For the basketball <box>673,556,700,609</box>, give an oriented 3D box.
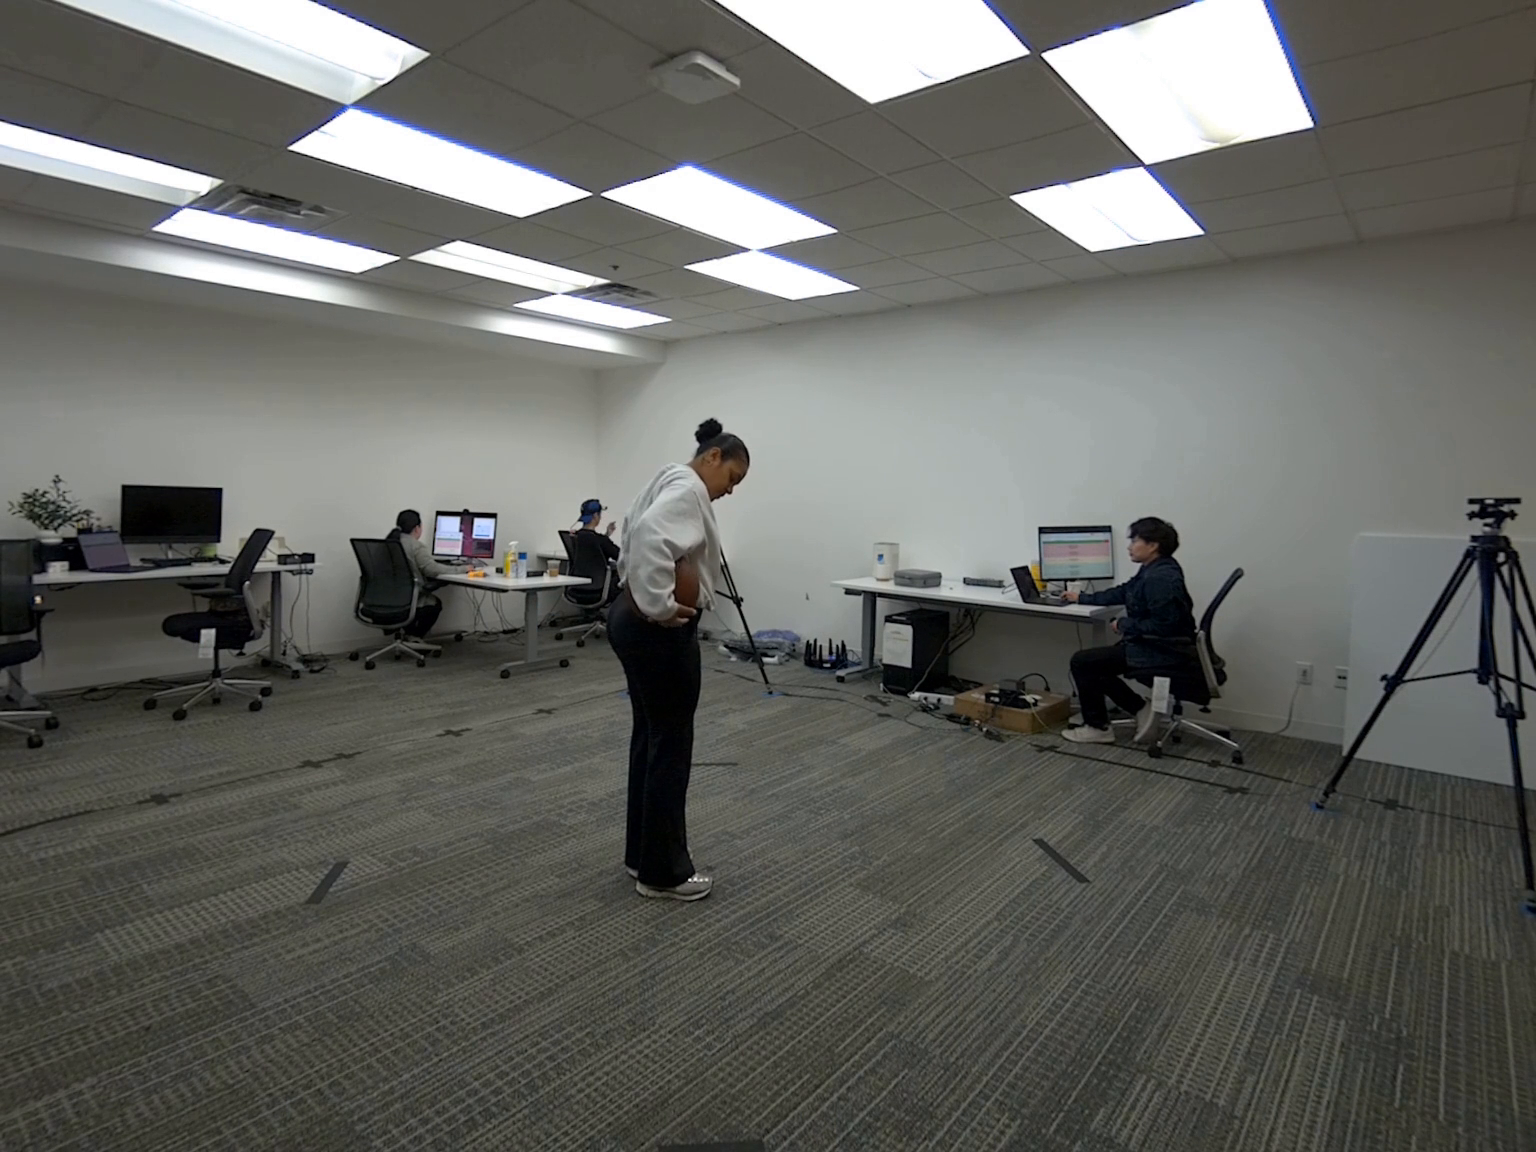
[{"bbox_3d":[-0.341,0.030,2.707,0.235,0.235,0.237,1,4,-2],"label":"basketball"}]
